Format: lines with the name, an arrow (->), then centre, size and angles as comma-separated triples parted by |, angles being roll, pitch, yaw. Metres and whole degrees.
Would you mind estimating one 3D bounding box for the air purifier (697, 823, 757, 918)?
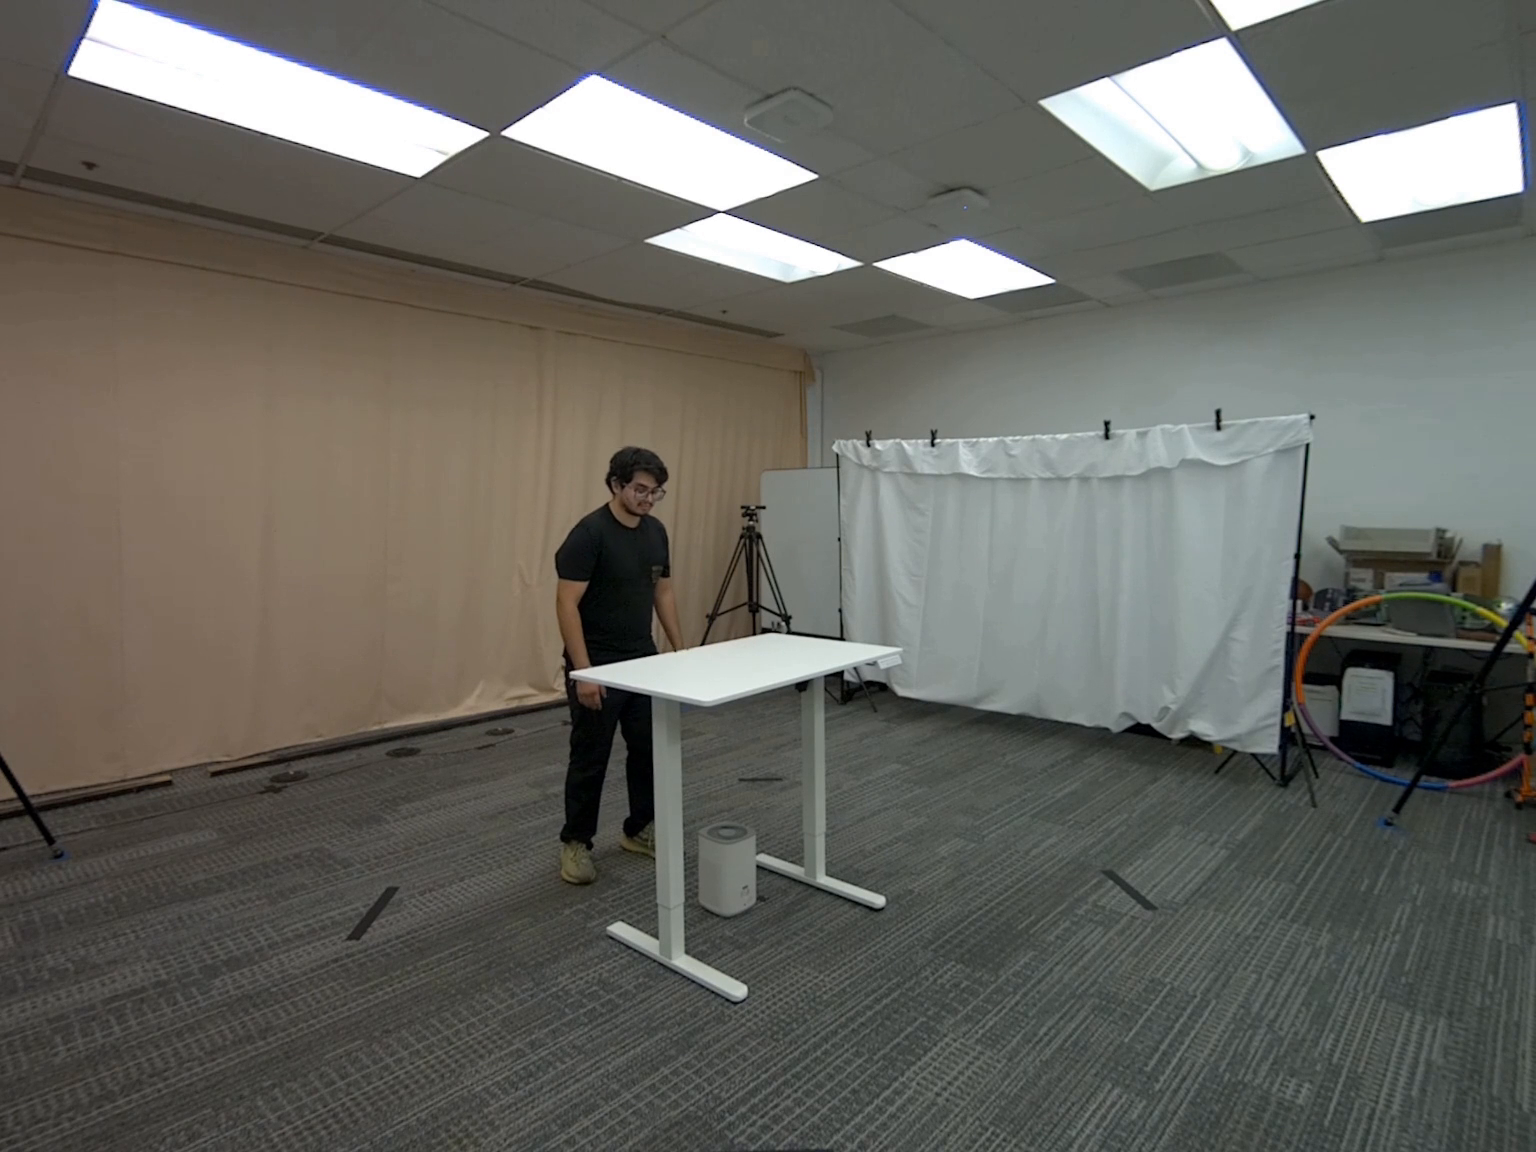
air purifier -> -0.136, 1.014, 2.918 | 0.177, 0.265, 0.166 | 4, 5, 42
